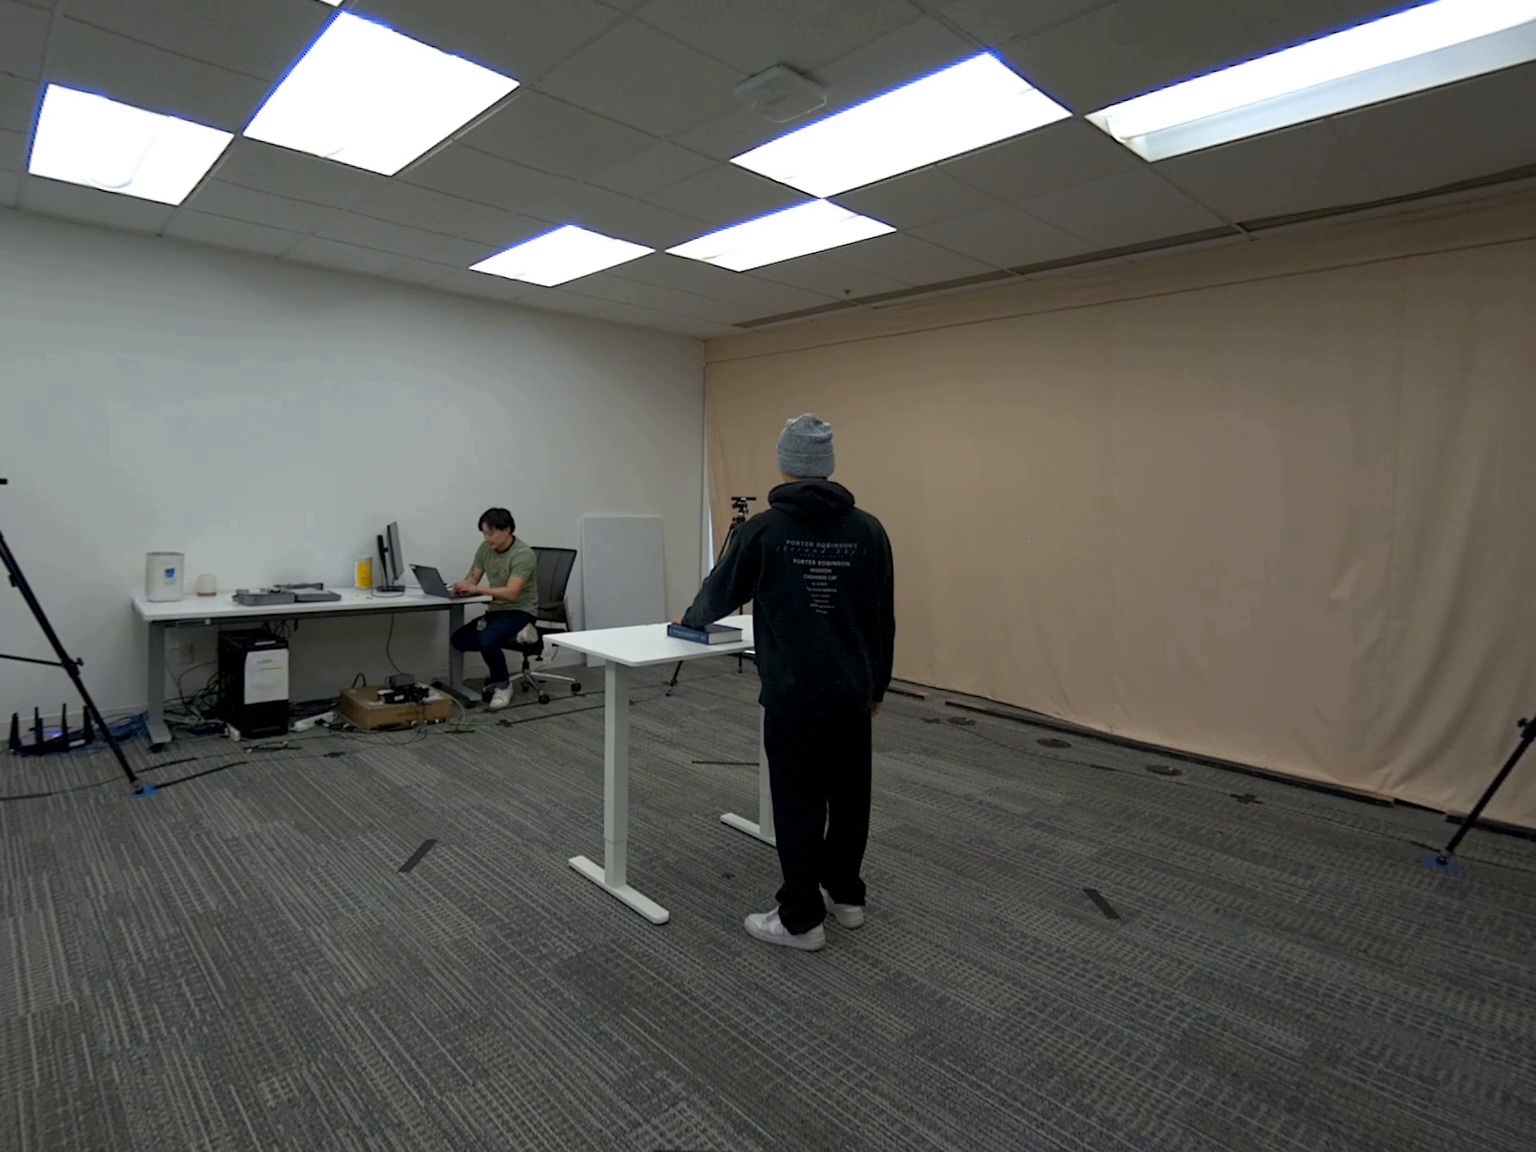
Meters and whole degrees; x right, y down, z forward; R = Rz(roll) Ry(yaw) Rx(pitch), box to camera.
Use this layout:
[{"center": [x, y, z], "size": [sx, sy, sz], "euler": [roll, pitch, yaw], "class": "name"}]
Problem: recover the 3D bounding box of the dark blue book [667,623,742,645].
[{"center": [-0.218, 0.208, 3.042], "size": [0.160, 0.045, 0.251], "euler": [-5, 7, -43], "class": "dark blue book"}]
